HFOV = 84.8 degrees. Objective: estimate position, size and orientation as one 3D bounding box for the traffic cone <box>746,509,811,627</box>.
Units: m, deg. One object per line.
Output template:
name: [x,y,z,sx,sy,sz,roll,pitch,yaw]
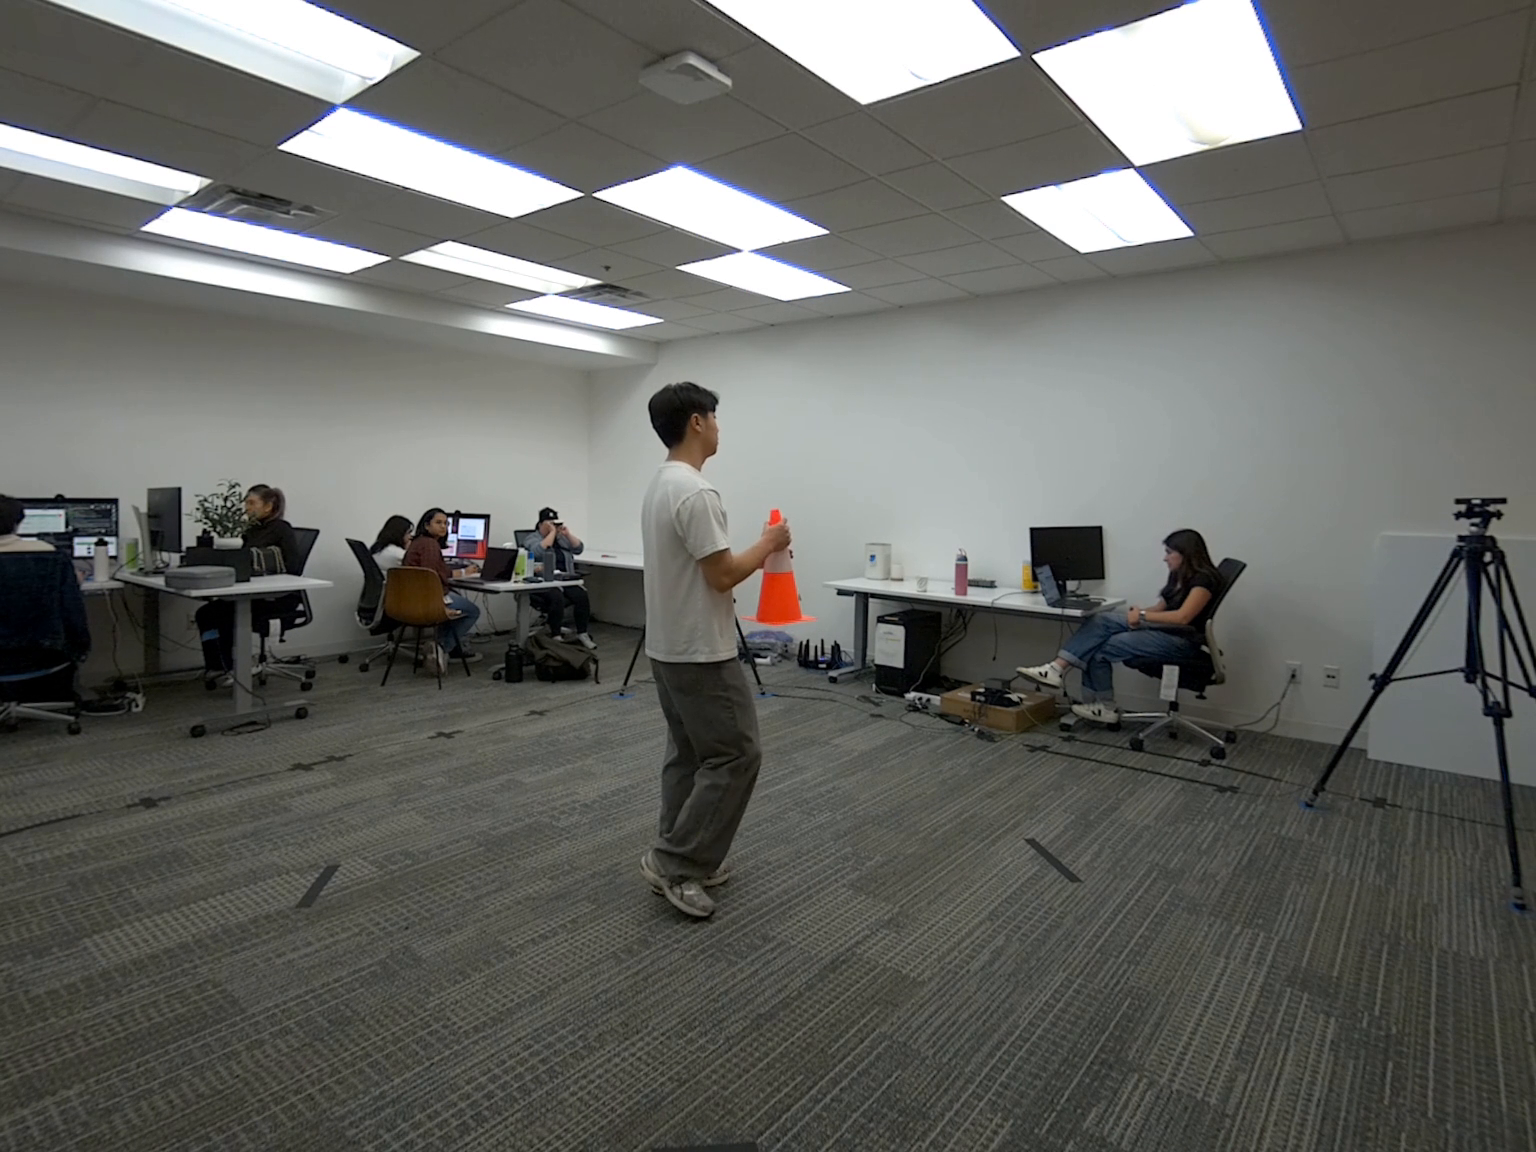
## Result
traffic cone: [0.029,-0.040,2.927,0.209,0.382,0.200,1,5,29]
